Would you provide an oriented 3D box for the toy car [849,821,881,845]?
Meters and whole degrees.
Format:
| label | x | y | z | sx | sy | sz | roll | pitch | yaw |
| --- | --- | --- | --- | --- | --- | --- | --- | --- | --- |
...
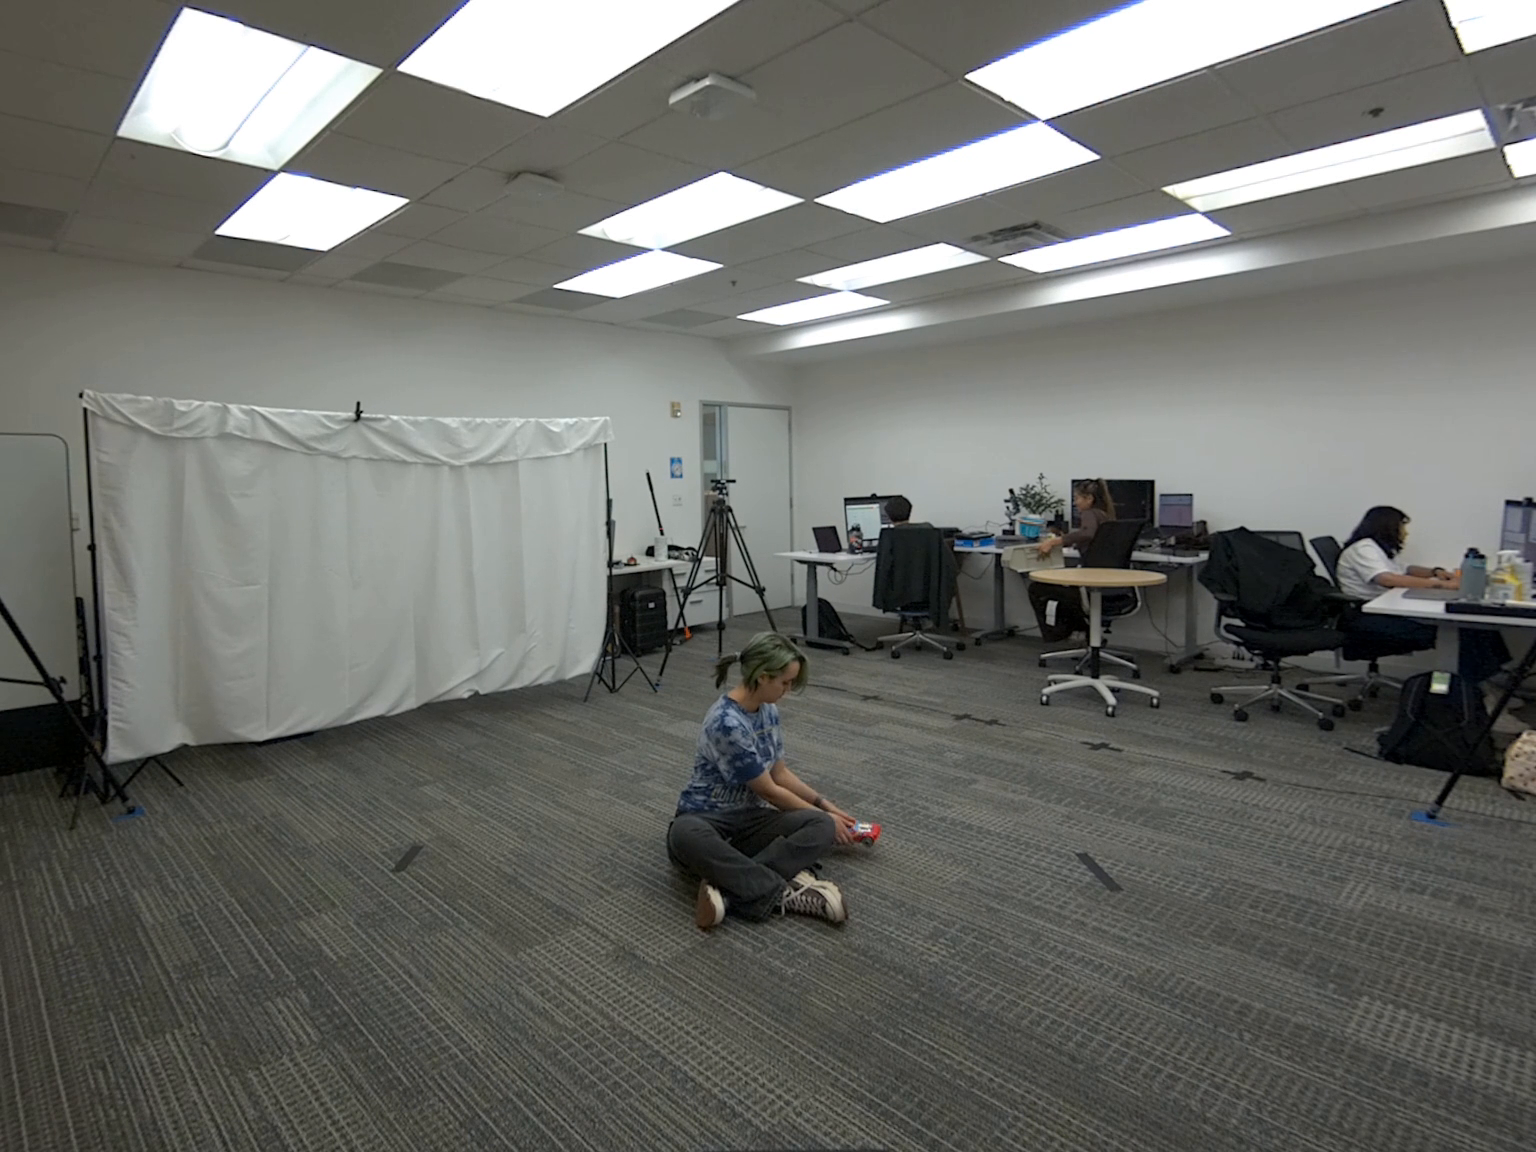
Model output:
| label | x | y | z | sx | sy | sz | roll | pitch | yaw |
| --- | --- | --- | --- | --- | --- | --- | --- | --- | --- |
| toy car | 0.285 | 0.942 | 3.187 | 0.260 | 0.083 | 0.128 | 6 | 8 | 21 |
